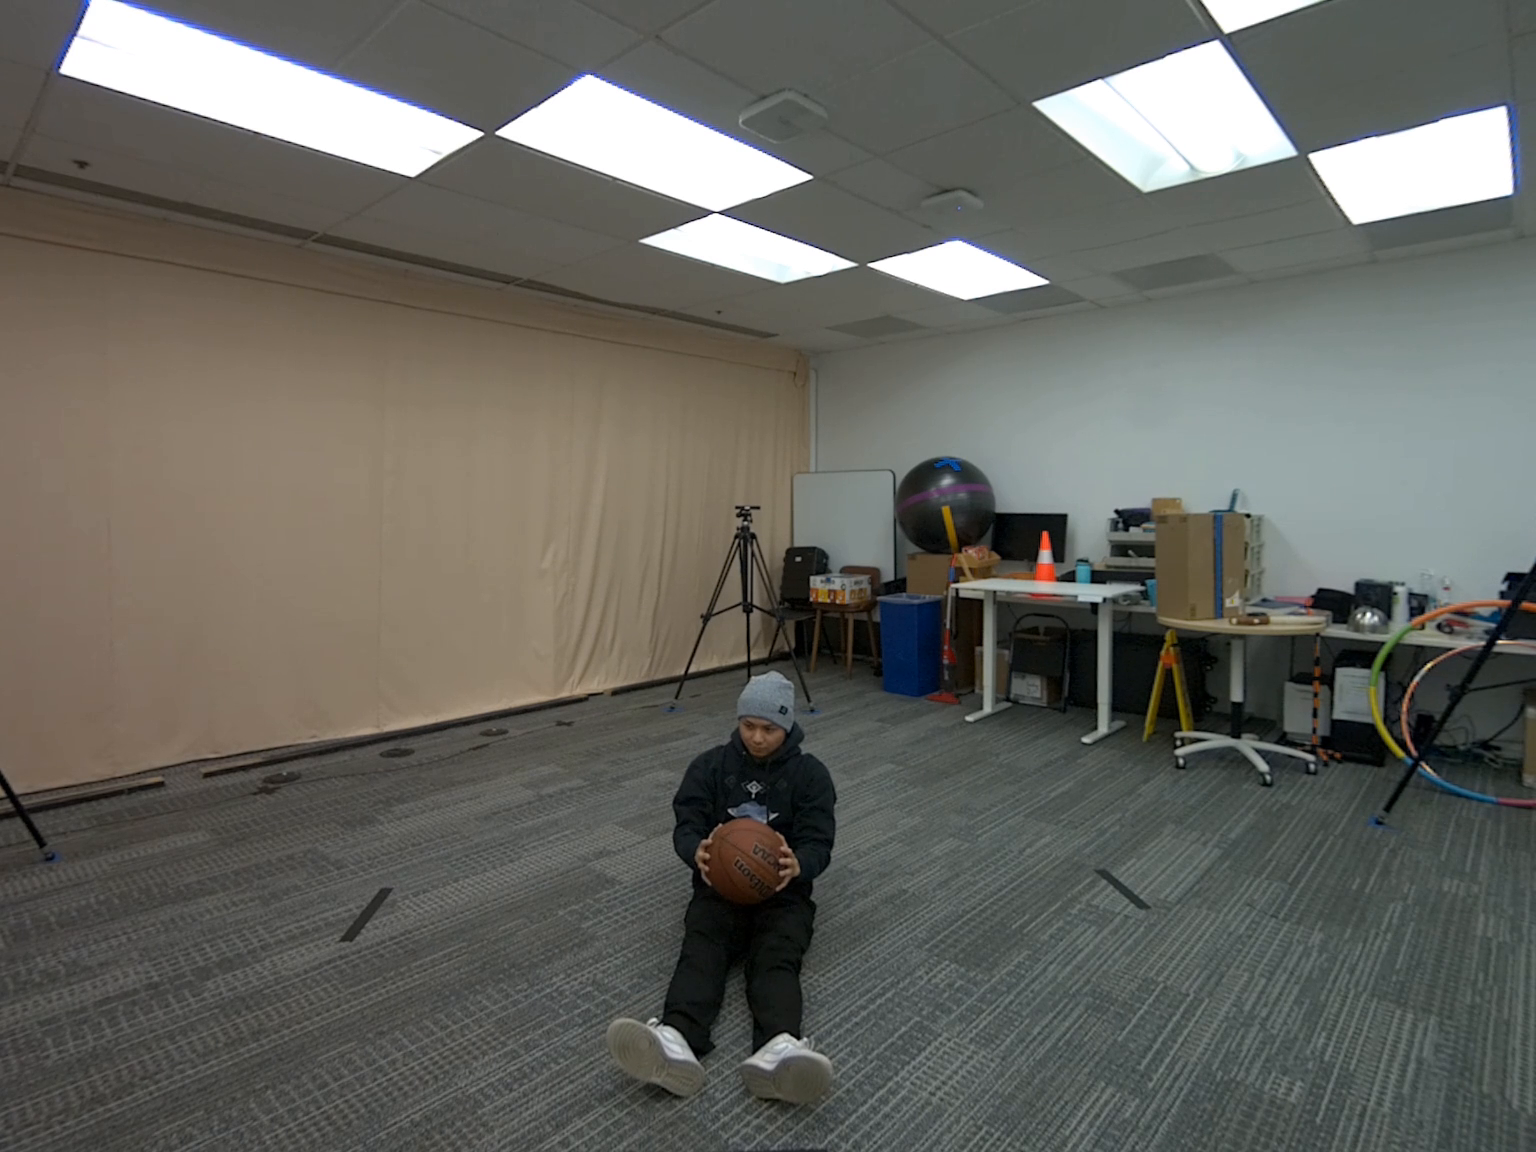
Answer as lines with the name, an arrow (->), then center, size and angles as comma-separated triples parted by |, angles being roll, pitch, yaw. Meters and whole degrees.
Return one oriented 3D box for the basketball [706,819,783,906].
basketball -> -0.066, 0.830, 2.482 | 0.236, 0.235, 0.237 | 0, 4, -2
